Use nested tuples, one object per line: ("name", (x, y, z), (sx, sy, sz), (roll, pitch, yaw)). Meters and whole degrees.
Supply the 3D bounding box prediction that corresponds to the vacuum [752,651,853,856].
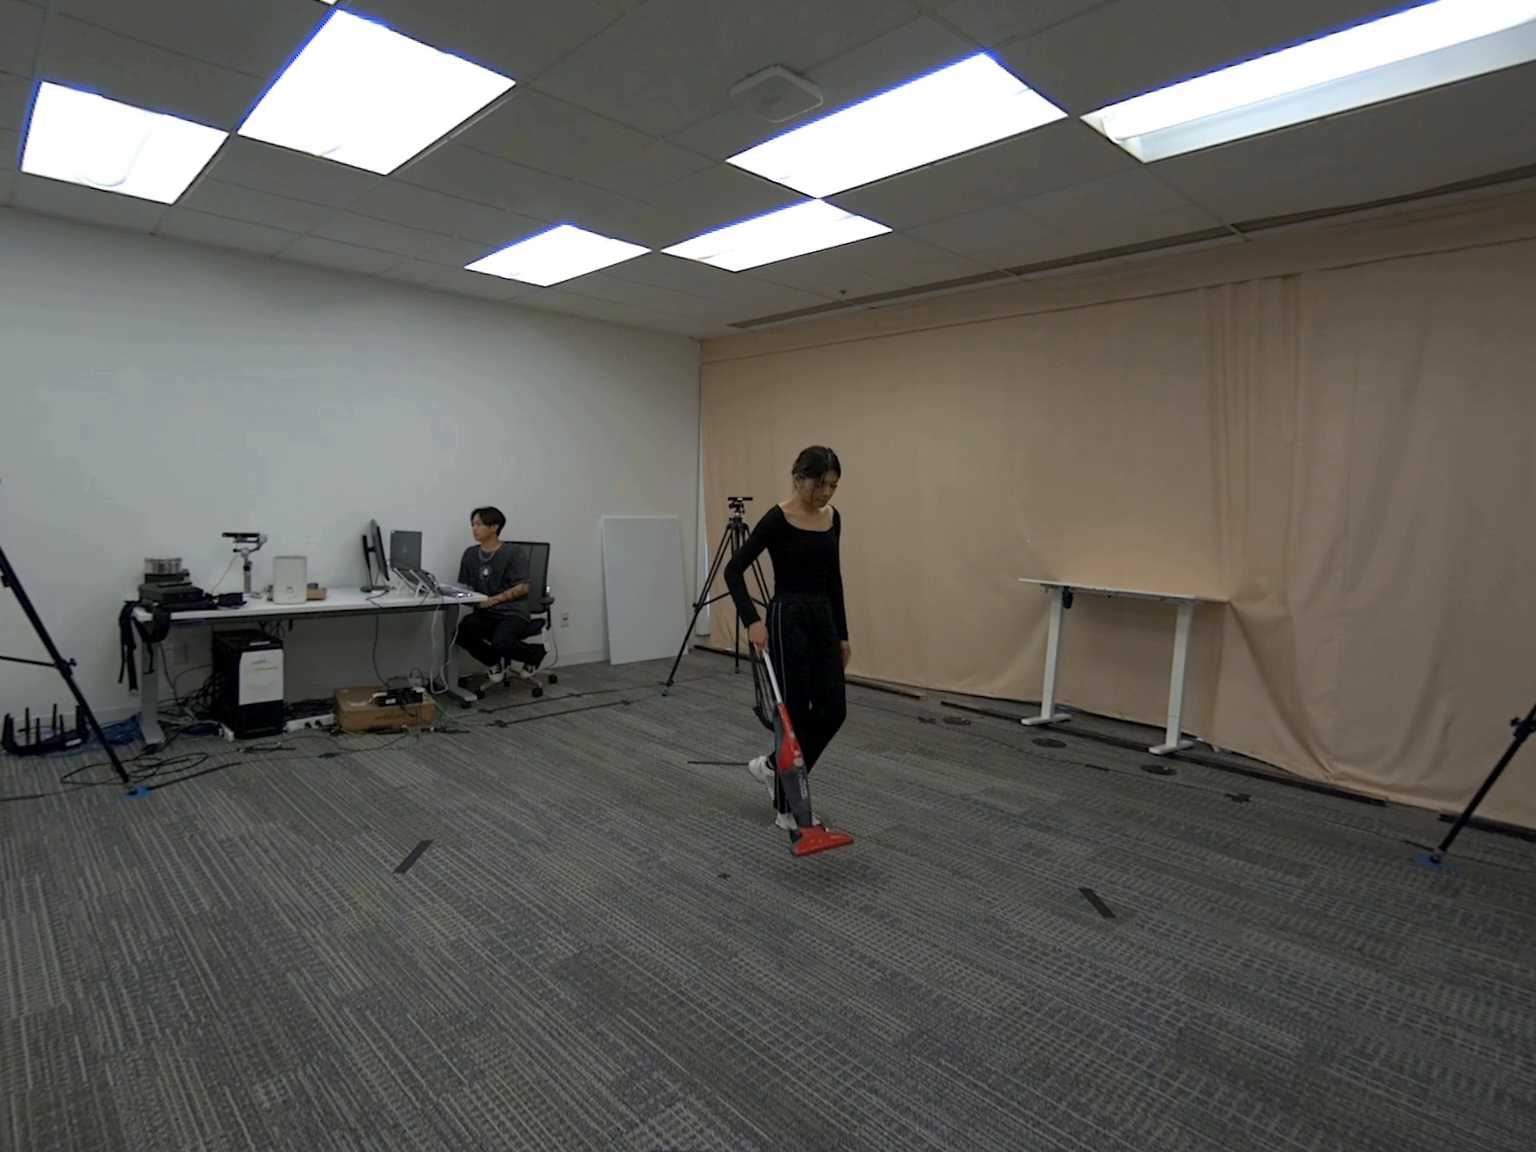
("vacuum", (0.026, 0.529, 3.305), (0.248, 1.072, 0.143), (-4, -27, -27))
